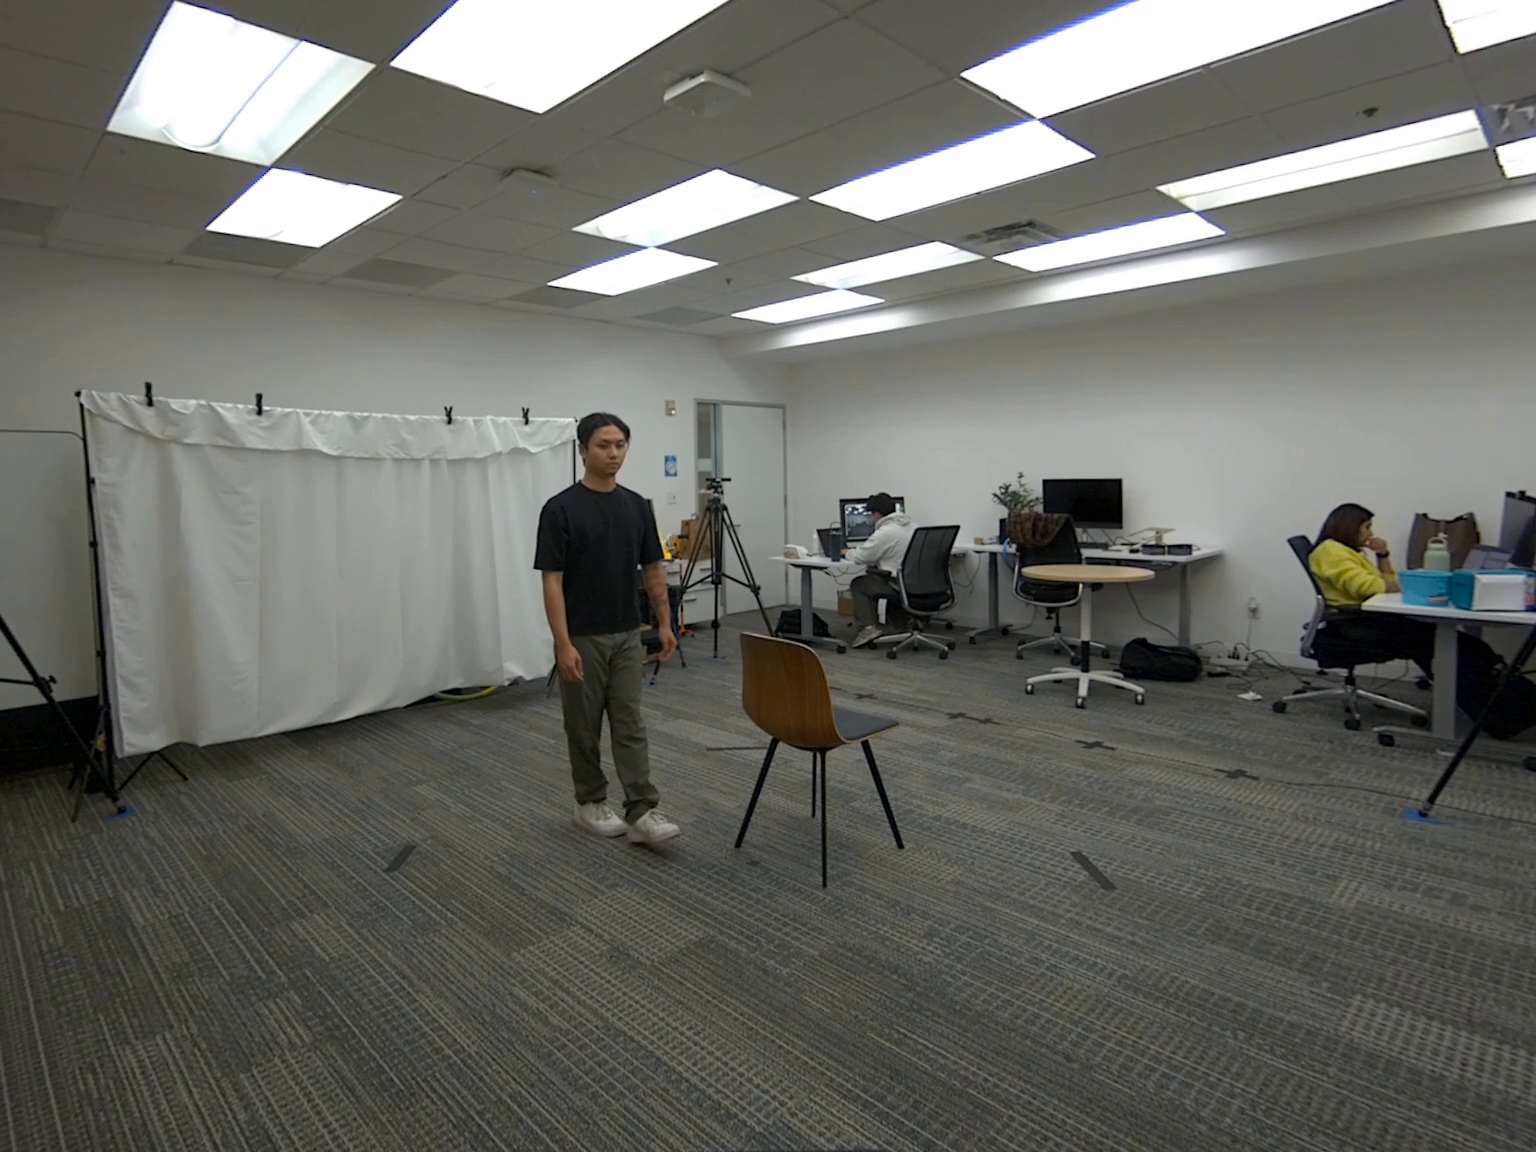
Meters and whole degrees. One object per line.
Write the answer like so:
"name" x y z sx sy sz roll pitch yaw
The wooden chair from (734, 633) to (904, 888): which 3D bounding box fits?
"wooden chair" 0.200 0.605 3.186 0.511 0.872 0.493 -10 9 -43
